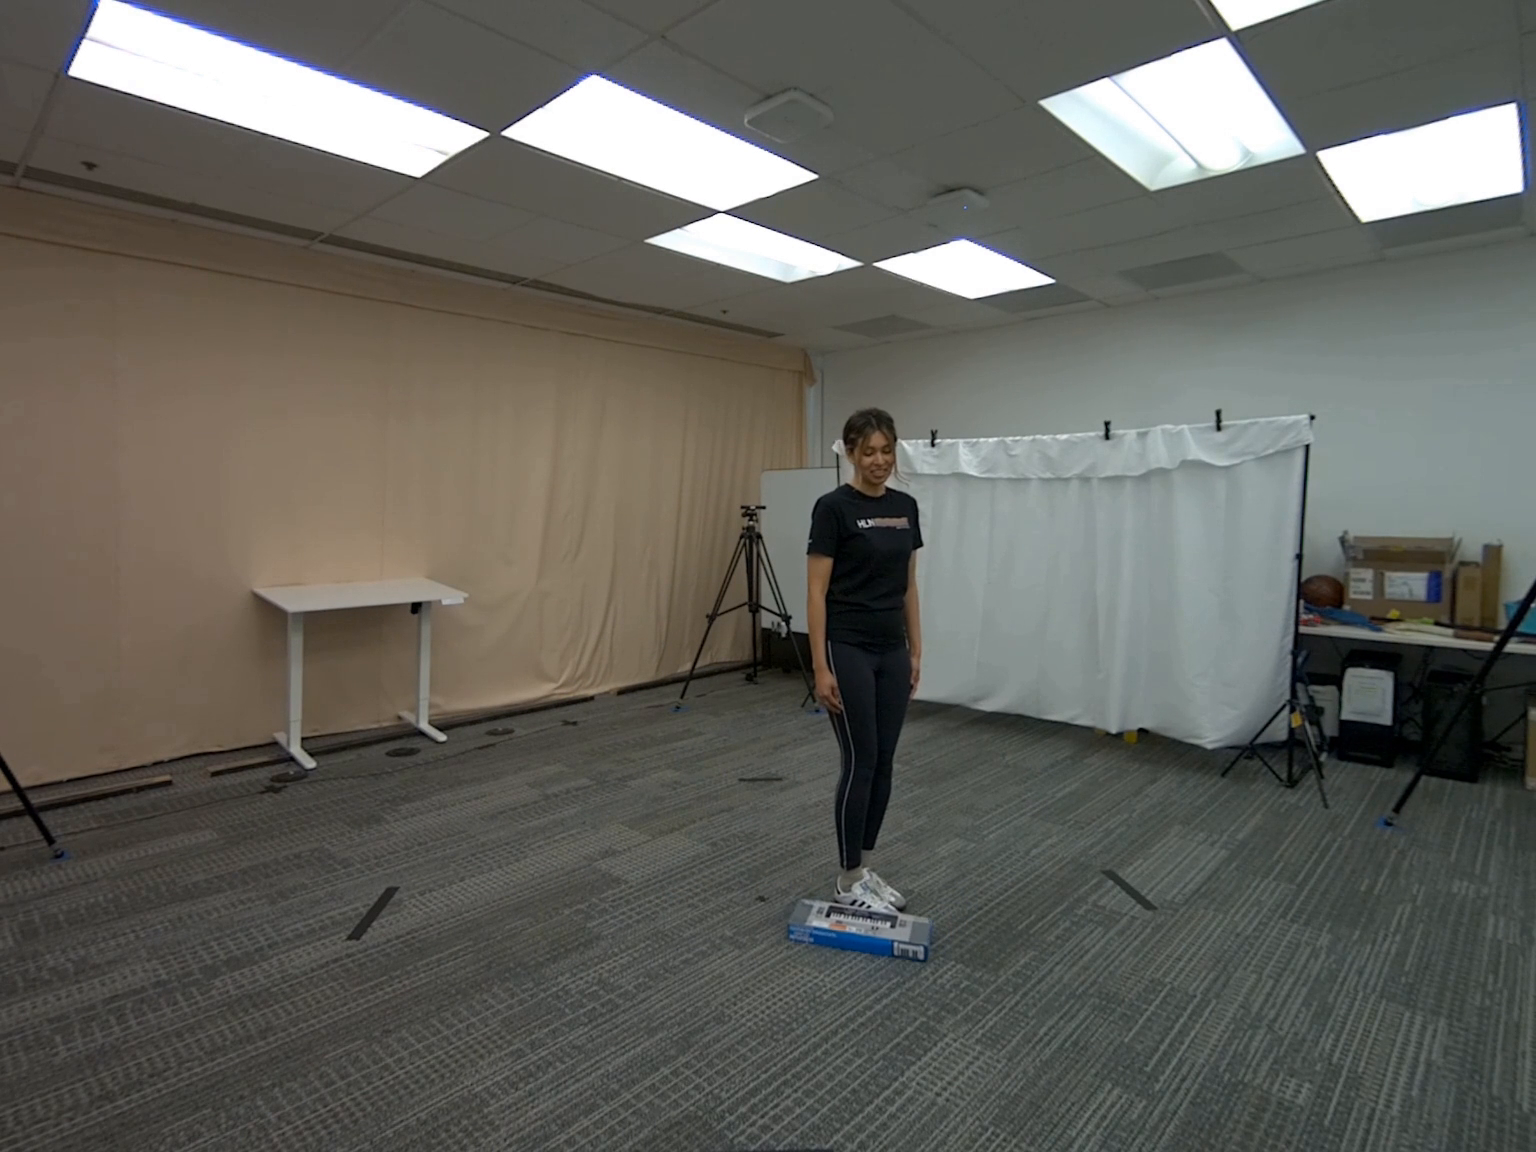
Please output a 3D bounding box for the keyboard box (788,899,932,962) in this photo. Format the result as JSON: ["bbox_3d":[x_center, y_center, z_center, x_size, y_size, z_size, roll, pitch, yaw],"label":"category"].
[{"bbox_3d":[0.293,1.138,2.699,0.446,0.059,0.173,1,6,19],"label":"keyboard box"}]
